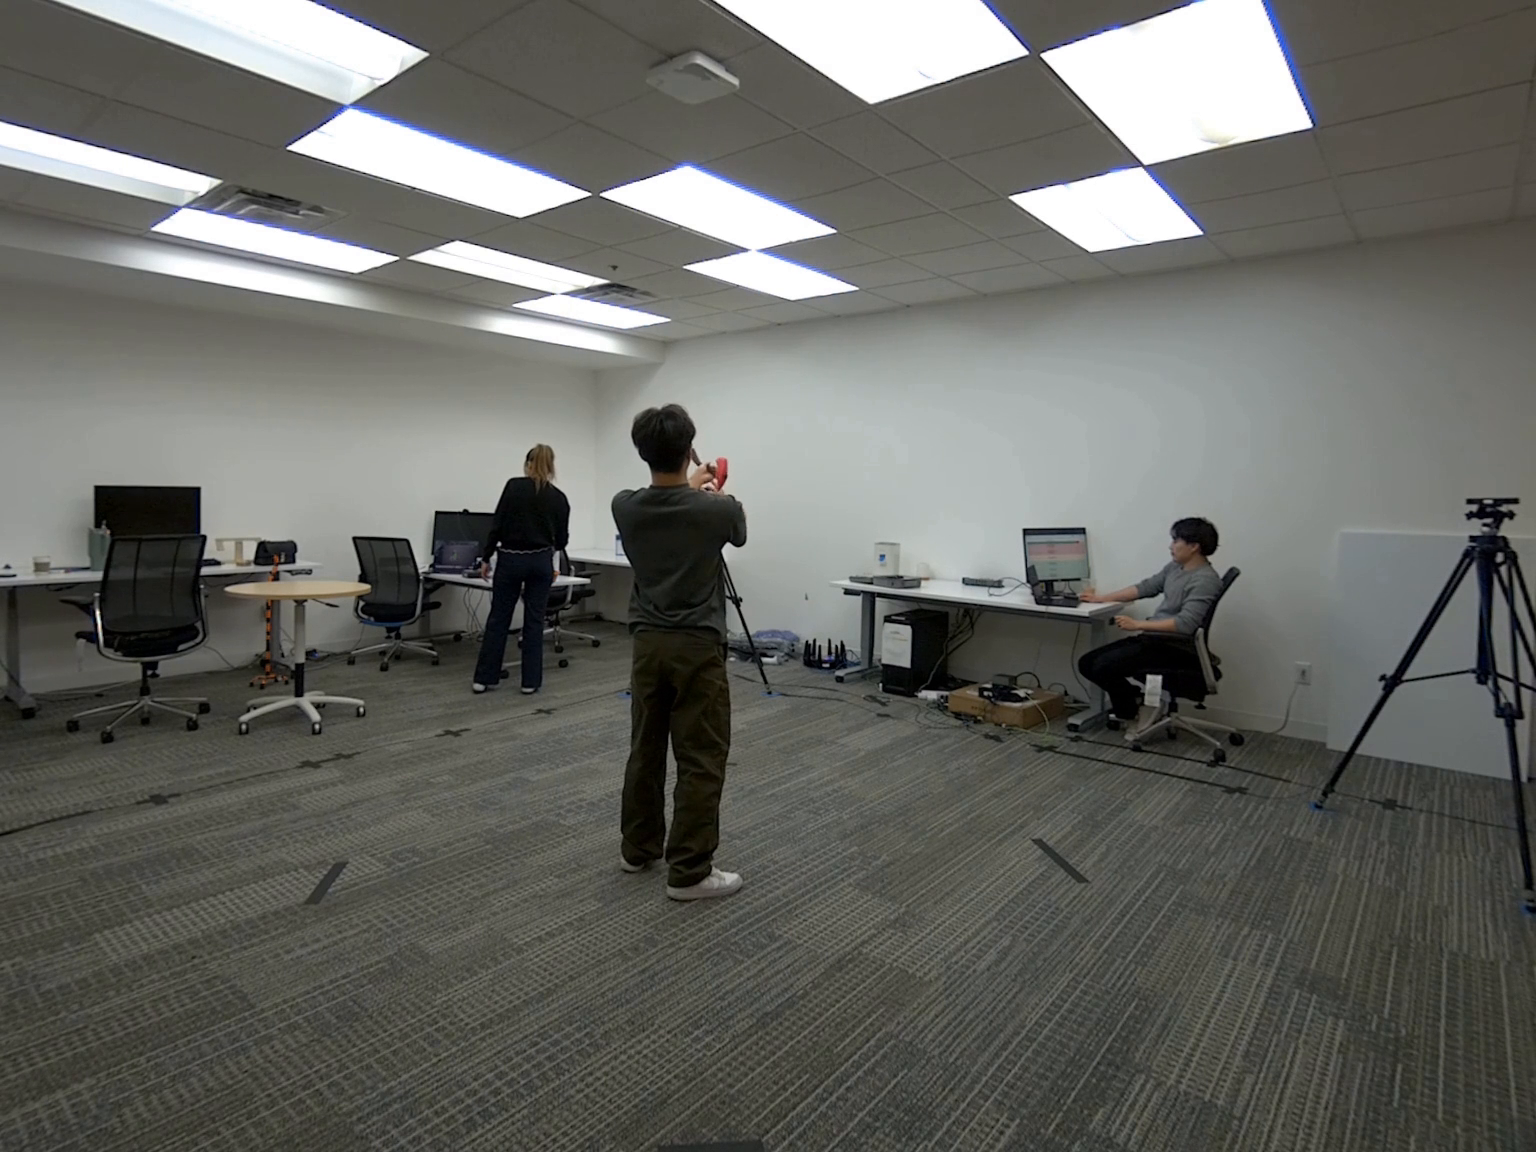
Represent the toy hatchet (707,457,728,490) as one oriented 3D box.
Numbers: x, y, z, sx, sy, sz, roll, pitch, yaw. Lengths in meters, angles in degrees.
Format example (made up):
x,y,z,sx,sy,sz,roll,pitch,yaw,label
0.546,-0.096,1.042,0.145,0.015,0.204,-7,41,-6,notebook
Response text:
x,y,z,sx,sy,sz,roll,pitch,yaw,label
-0.248,-0.464,3.438,0.029,0.129,0.281,-3,41,-37,toy hatchet
